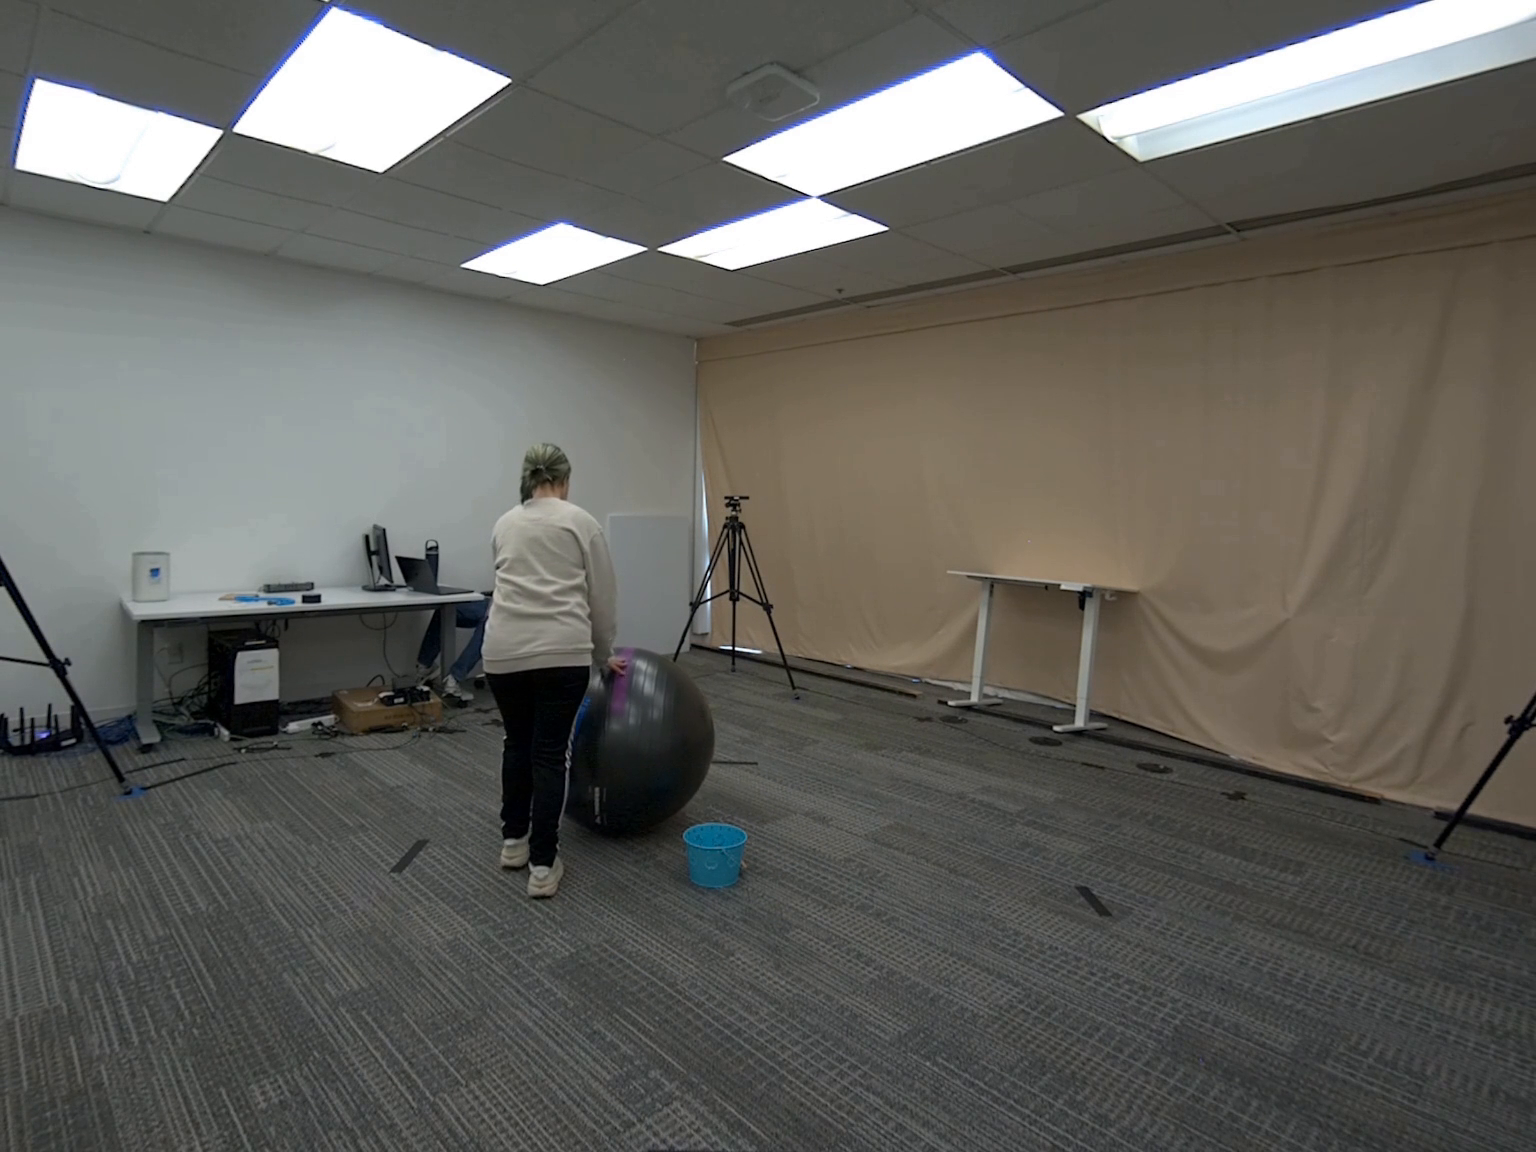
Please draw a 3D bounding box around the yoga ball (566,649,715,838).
[{"bbox_3d":[-0.609,0.686,3.530,0.757,0.756,0.761,1,4,-1],"label":"yoga ball"}]
